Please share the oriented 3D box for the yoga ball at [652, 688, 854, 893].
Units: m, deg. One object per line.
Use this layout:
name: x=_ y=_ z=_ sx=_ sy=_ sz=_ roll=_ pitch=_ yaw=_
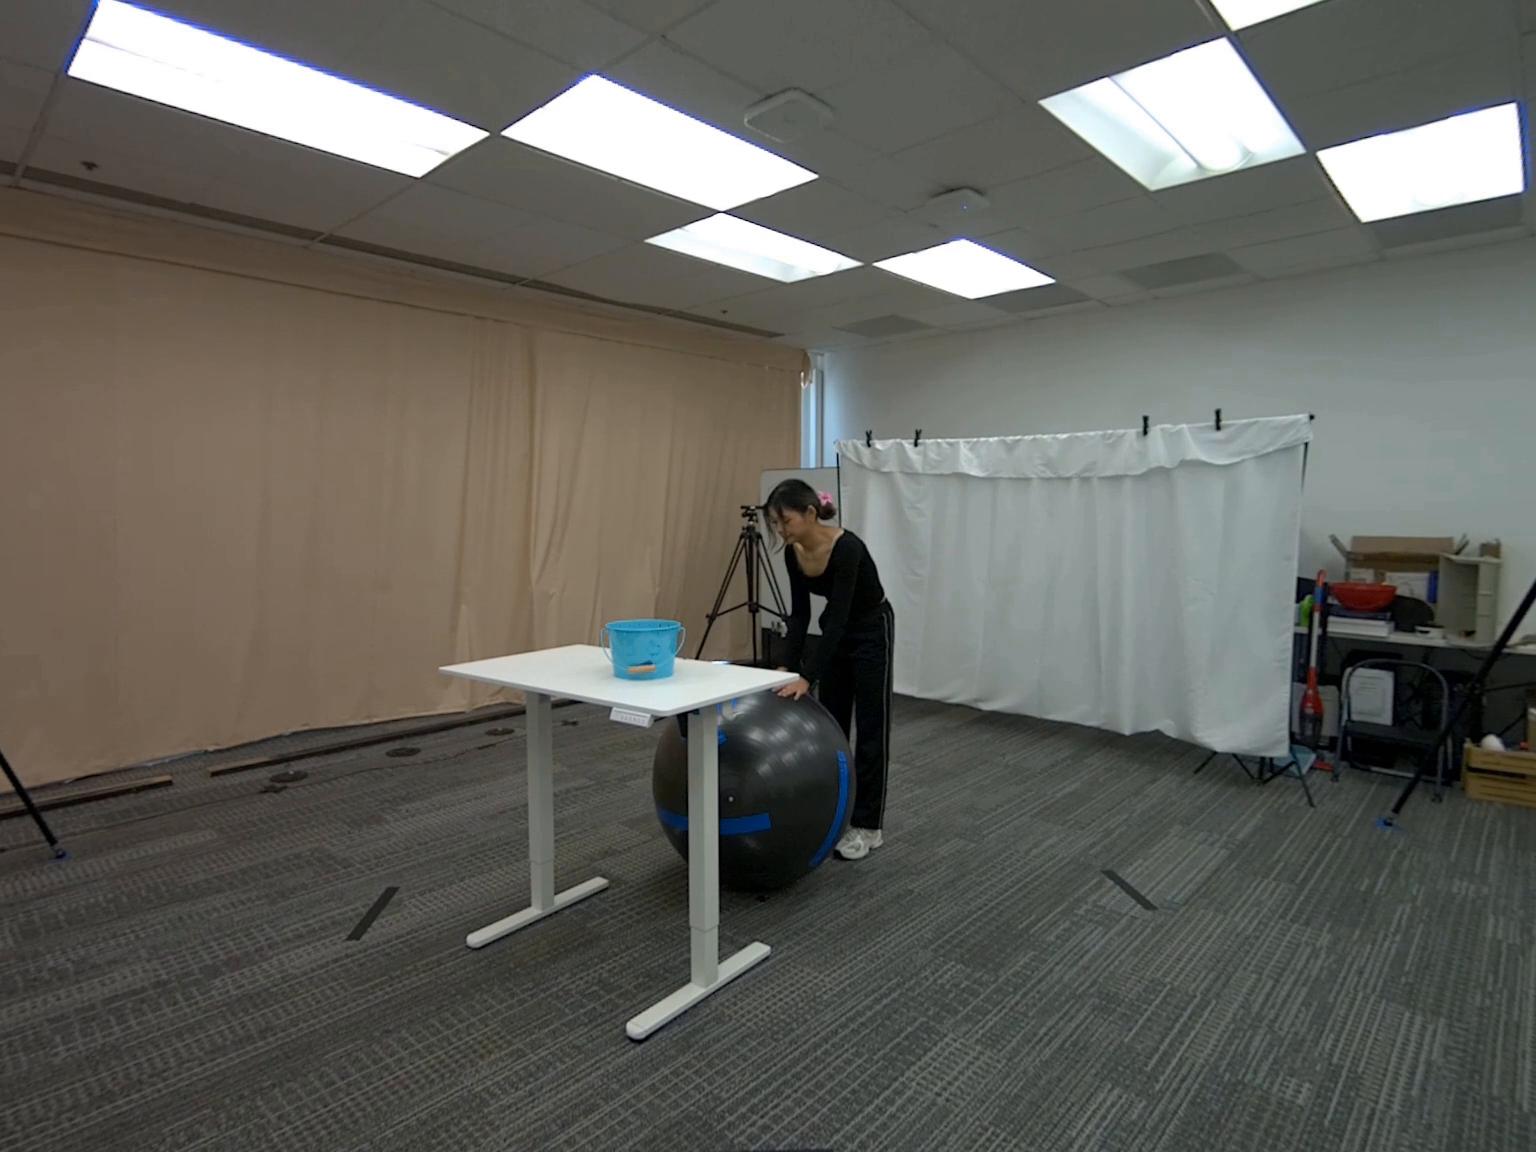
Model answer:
yoga ball: x=-0.060 y=0.764 z=3.138 sx=0.757 sy=0.756 sz=0.761 roll=0 pitch=4 yaw=-2
